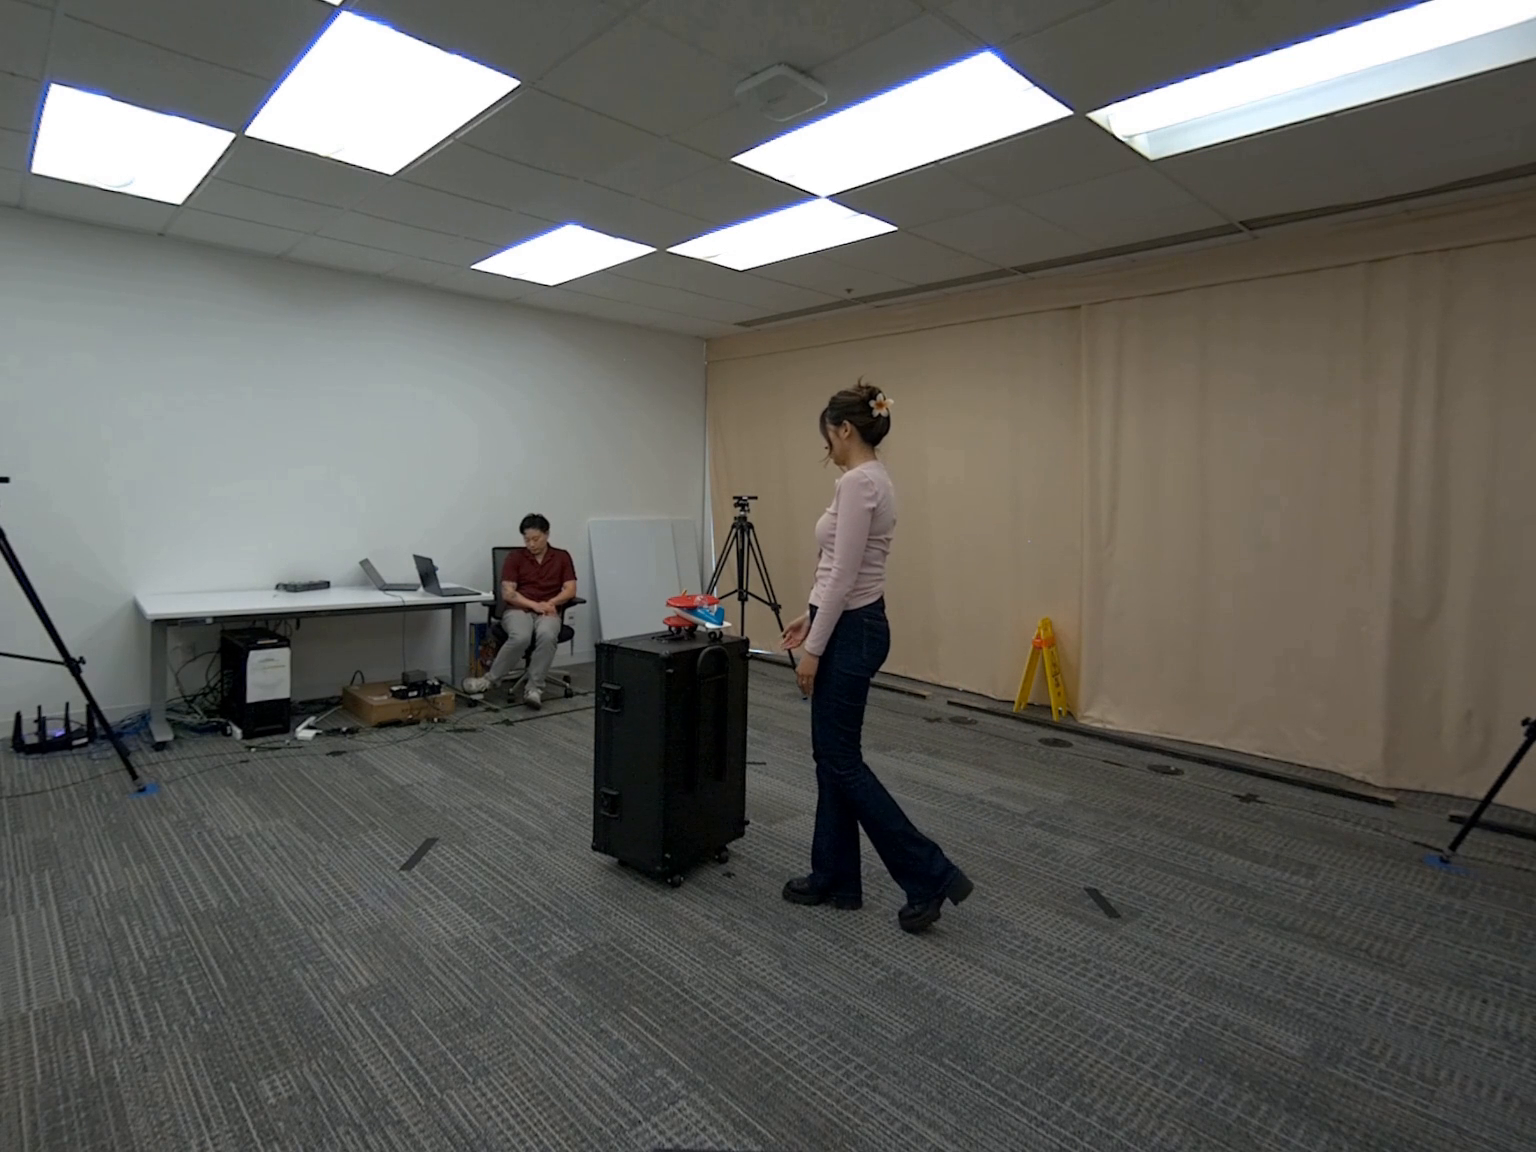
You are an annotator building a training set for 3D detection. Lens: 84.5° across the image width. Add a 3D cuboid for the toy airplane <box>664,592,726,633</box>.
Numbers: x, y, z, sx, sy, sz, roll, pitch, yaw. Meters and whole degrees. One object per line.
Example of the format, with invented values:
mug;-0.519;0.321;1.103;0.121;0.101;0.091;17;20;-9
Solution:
toy airplane;-0.277;0.158;3.271;0.262;0.156;0.249;2;5;13
